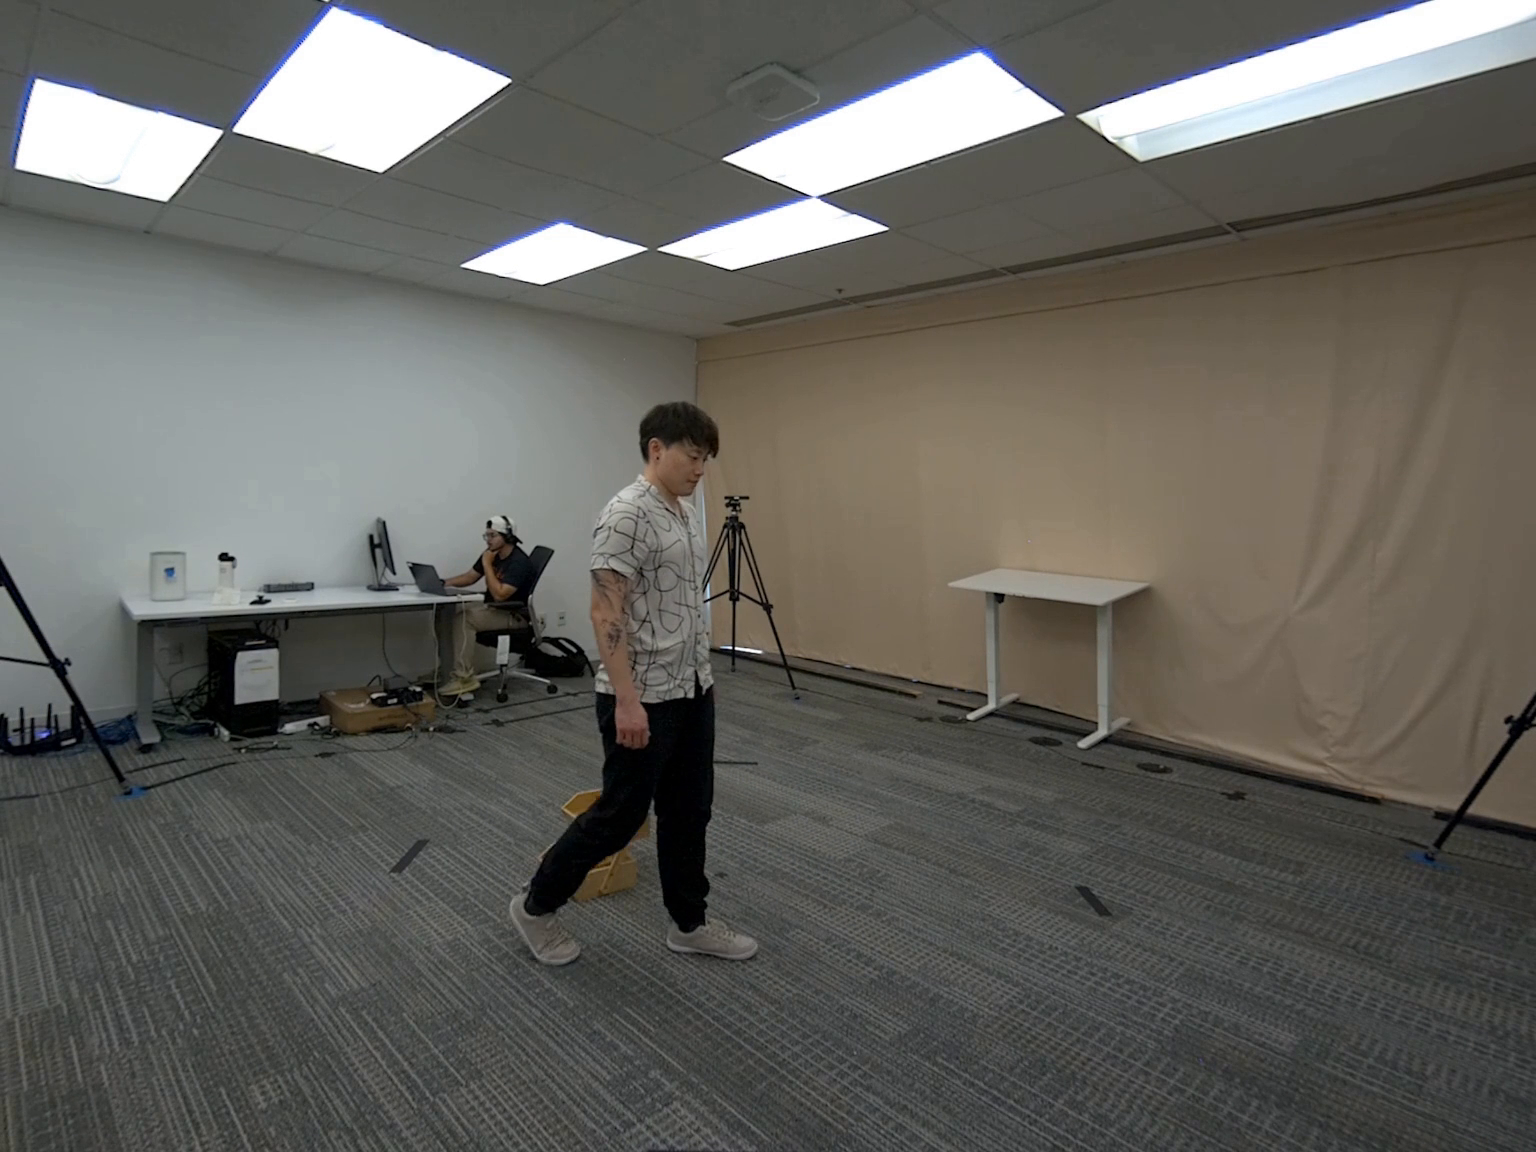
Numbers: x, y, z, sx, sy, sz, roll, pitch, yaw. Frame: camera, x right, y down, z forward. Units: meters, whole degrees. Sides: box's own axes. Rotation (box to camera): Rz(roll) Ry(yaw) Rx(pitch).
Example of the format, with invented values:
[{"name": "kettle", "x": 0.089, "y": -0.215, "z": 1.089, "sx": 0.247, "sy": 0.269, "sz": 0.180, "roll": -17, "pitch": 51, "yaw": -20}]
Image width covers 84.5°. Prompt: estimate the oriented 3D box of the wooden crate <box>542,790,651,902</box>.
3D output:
[{"name": "wooden crate", "x": -0.647, "y": 0.967, "z": 3.058, "sx": 0.295, "sy": 0.273, "sz": 0.332, "roll": -1, "pitch": 5, "yaw": -37}]
